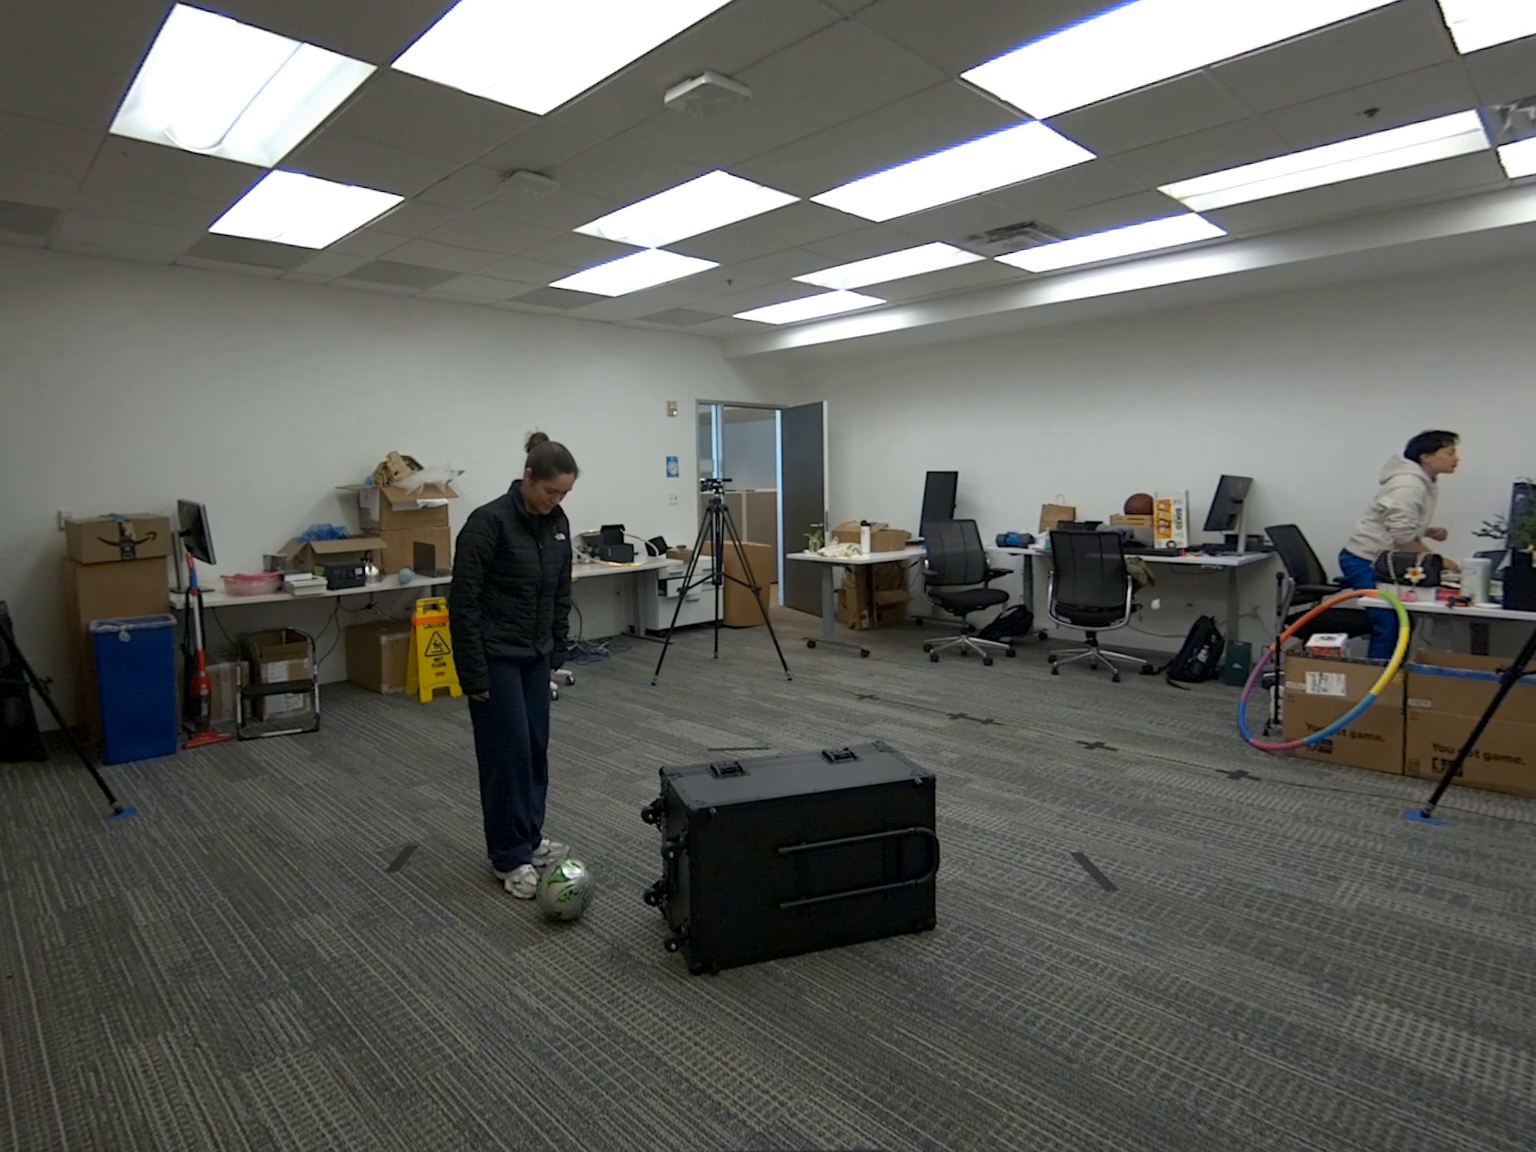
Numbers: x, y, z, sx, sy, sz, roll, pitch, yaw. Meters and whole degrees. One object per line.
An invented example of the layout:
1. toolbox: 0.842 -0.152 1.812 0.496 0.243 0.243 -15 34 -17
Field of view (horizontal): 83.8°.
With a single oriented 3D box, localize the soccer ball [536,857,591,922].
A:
1. soccer ball: -0.638 1.002 2.742 0.187 0.187 0.188 -1 5 -2
